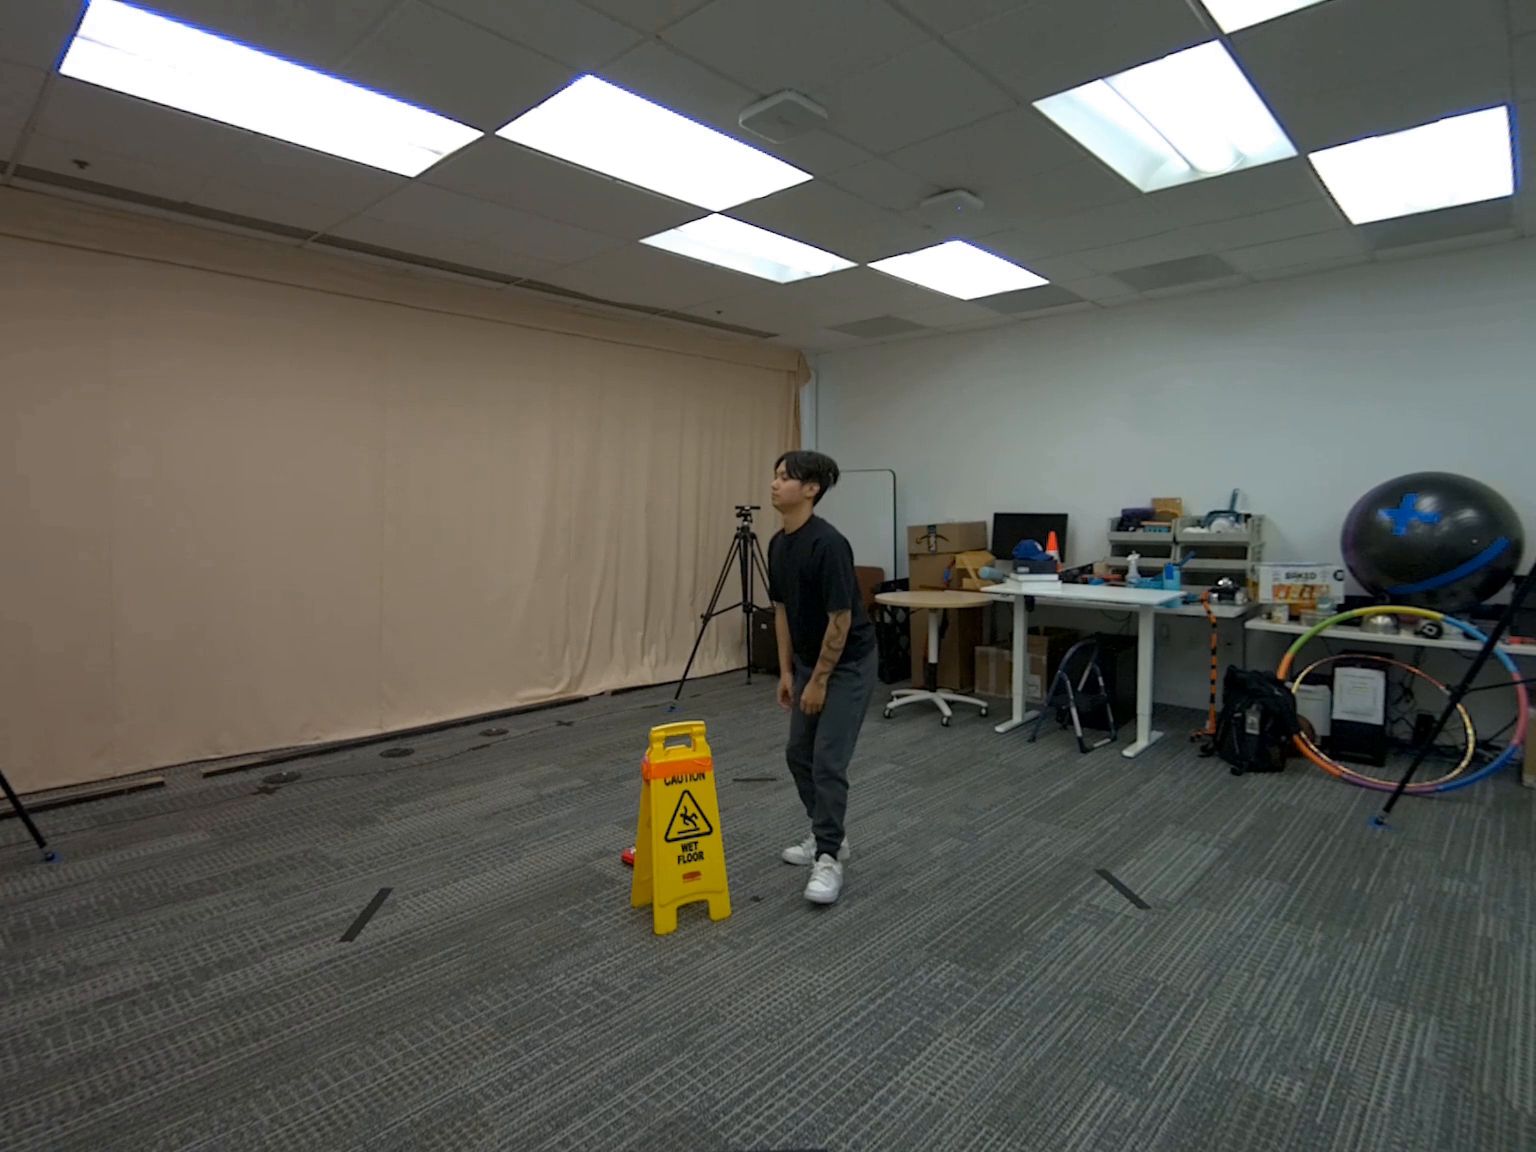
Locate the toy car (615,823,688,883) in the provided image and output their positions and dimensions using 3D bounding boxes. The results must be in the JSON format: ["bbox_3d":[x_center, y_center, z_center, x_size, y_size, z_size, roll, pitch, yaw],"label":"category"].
[{"bbox_3d":[-0.460,1.088,3.342,0.134,0.082,0.249,1,16,40],"label":"toy car"}]
